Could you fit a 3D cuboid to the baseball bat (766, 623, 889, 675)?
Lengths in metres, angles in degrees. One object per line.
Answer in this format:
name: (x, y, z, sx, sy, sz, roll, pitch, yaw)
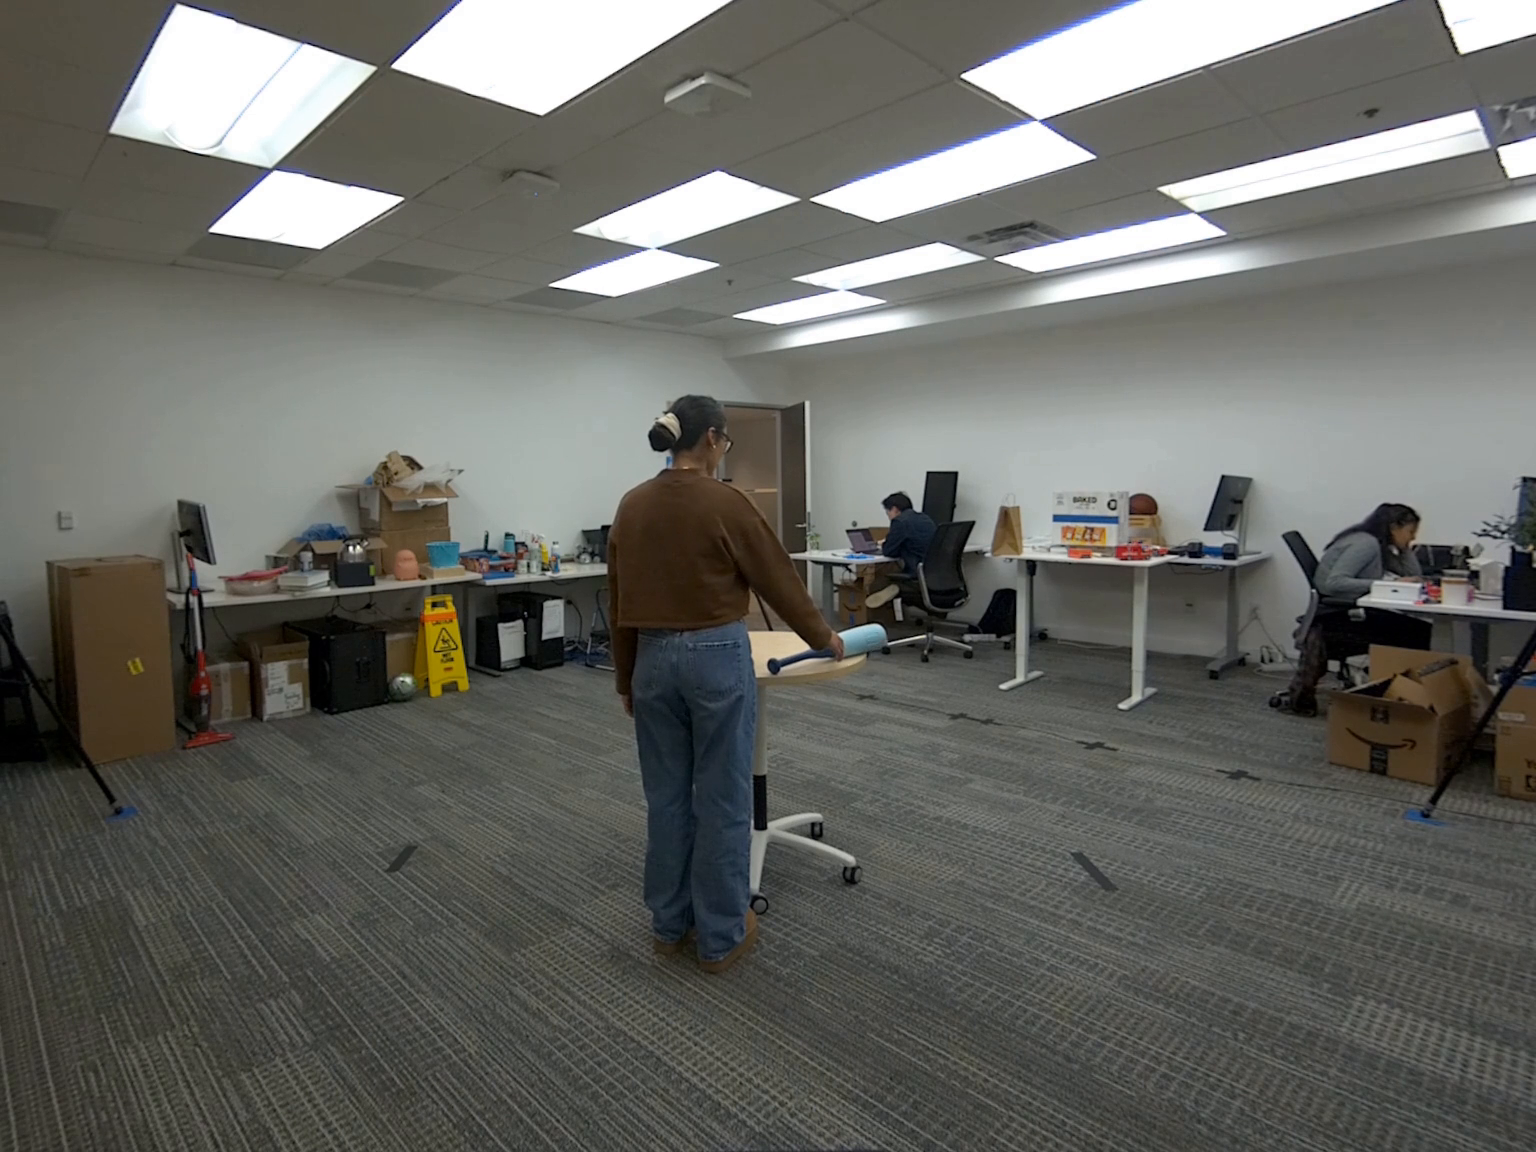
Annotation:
baseball bat: (0.208, 0.248, 2.844, 0.530, 0.088, 0.092, -11, 10, -43)
